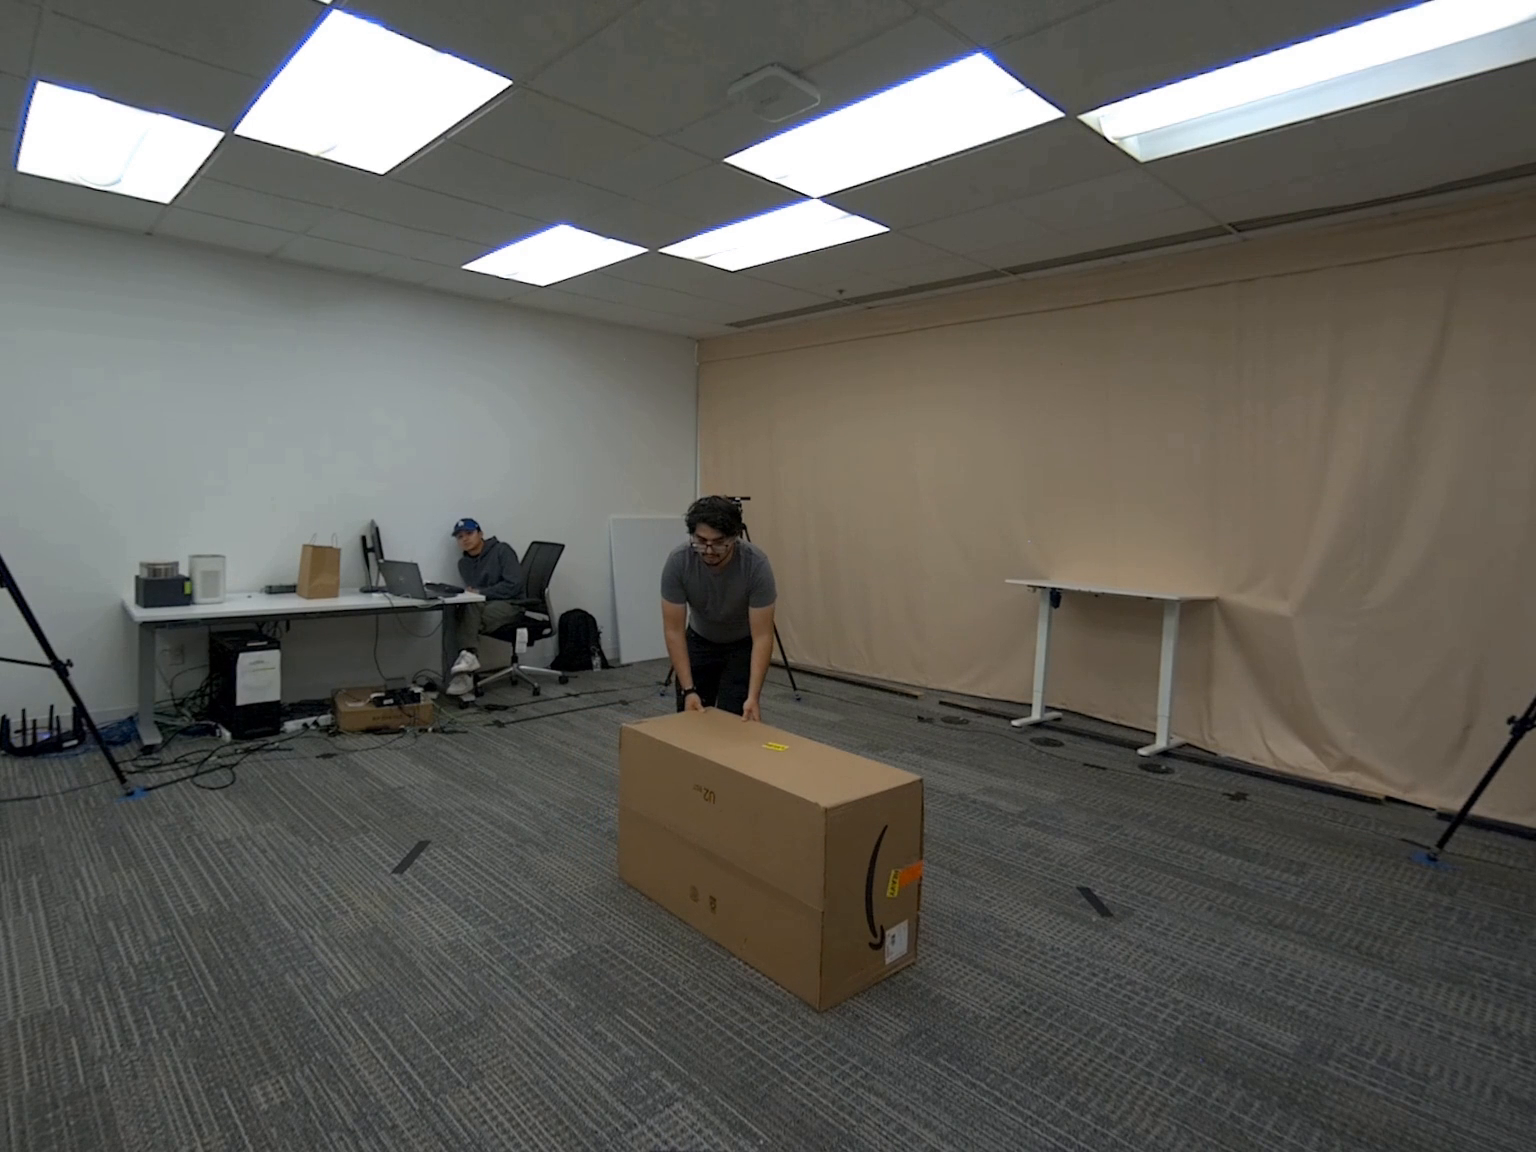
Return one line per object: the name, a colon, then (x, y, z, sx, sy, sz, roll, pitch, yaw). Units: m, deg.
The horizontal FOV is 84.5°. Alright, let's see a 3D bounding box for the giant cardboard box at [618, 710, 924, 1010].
giant cardboard box: (-0.042, 0.855, 2.789, 0.416, 0.576, 1.052, -2, 6, -41)
